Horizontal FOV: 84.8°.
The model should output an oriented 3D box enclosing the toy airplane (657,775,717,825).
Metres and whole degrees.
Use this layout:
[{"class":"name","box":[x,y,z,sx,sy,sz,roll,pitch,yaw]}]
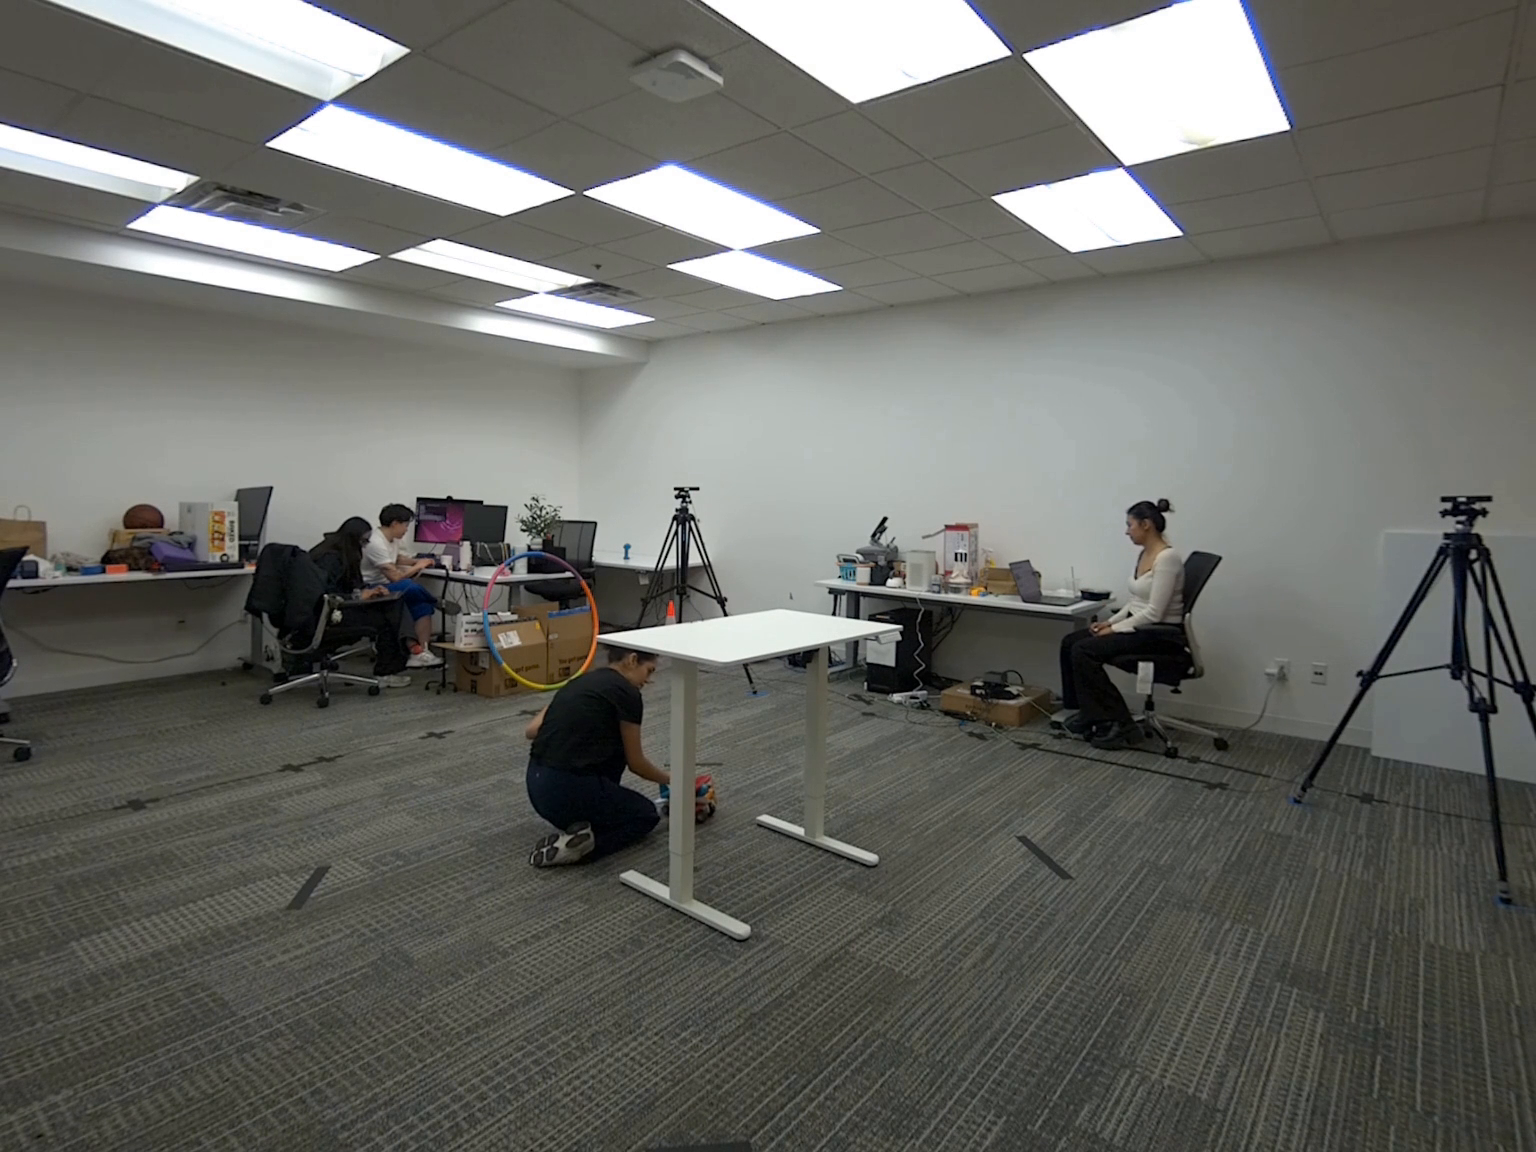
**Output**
[{"class":"toy airplane","box":[-0.335,0.948,3.603,0.258,0.155,0.253,1,6,-5]}]
